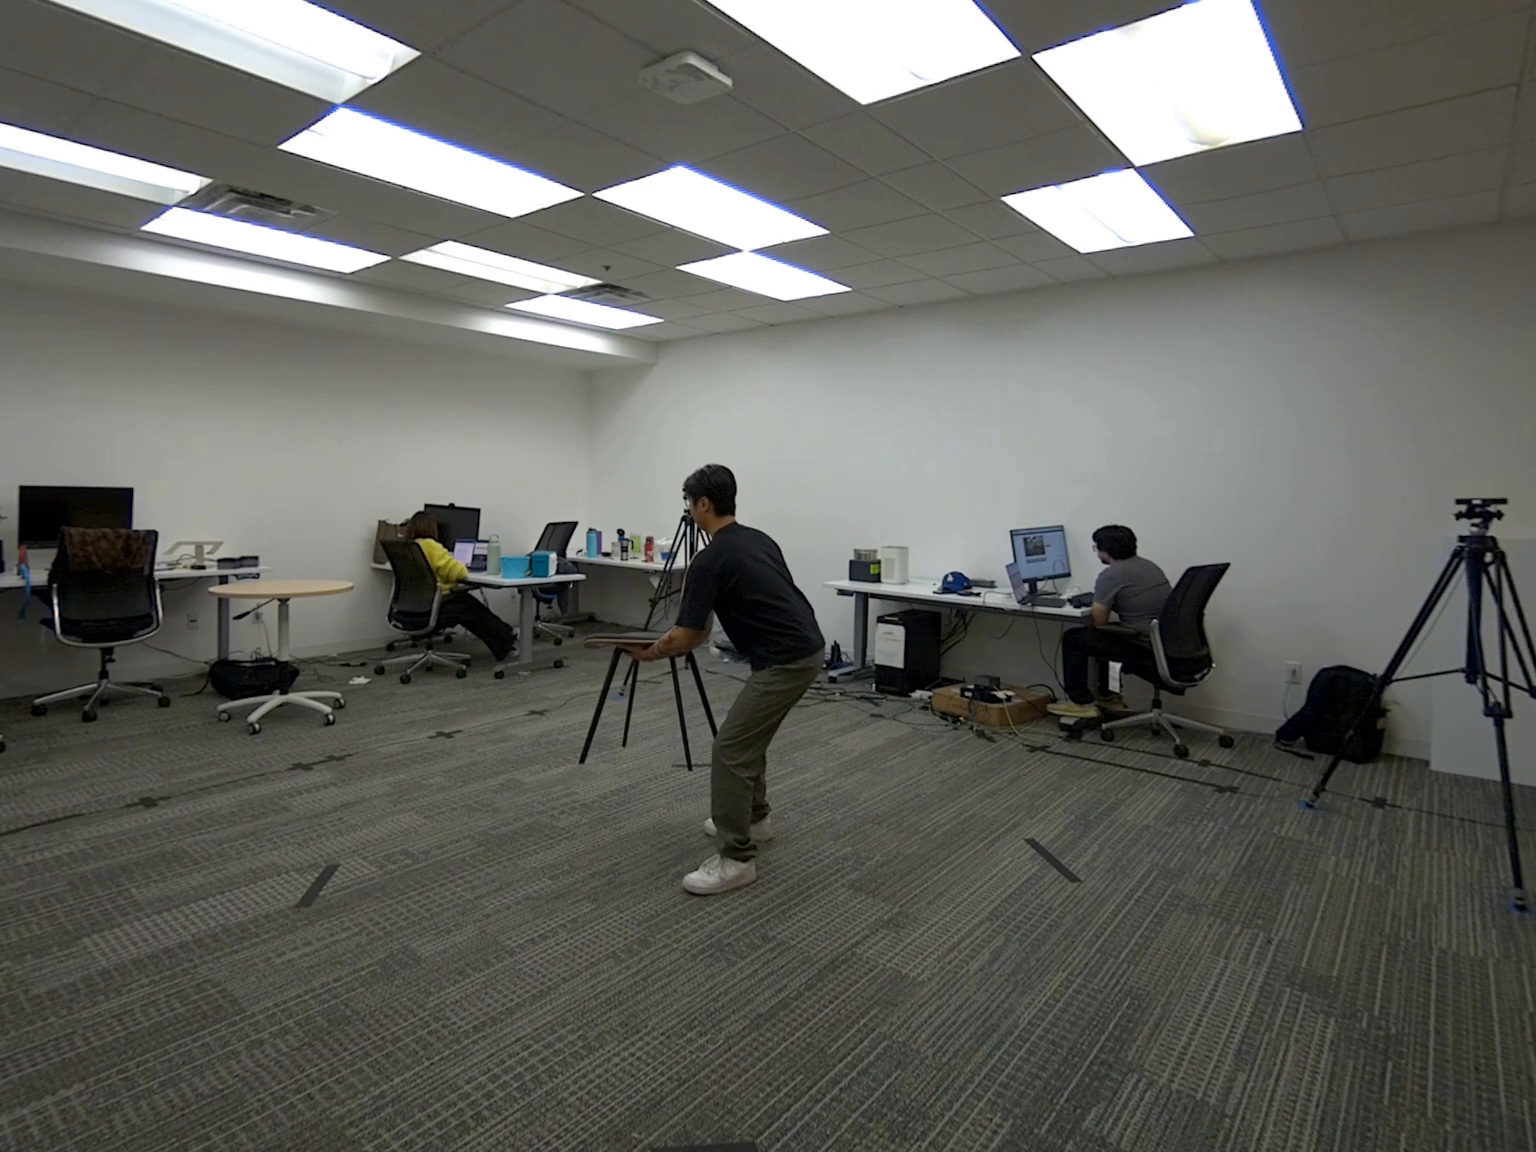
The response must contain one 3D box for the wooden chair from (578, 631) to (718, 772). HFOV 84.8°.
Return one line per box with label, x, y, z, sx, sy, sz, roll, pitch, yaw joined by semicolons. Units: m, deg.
wooden chair;-0.475;0.308;3.452;0.532;0.880;0.469;3;-3;14
